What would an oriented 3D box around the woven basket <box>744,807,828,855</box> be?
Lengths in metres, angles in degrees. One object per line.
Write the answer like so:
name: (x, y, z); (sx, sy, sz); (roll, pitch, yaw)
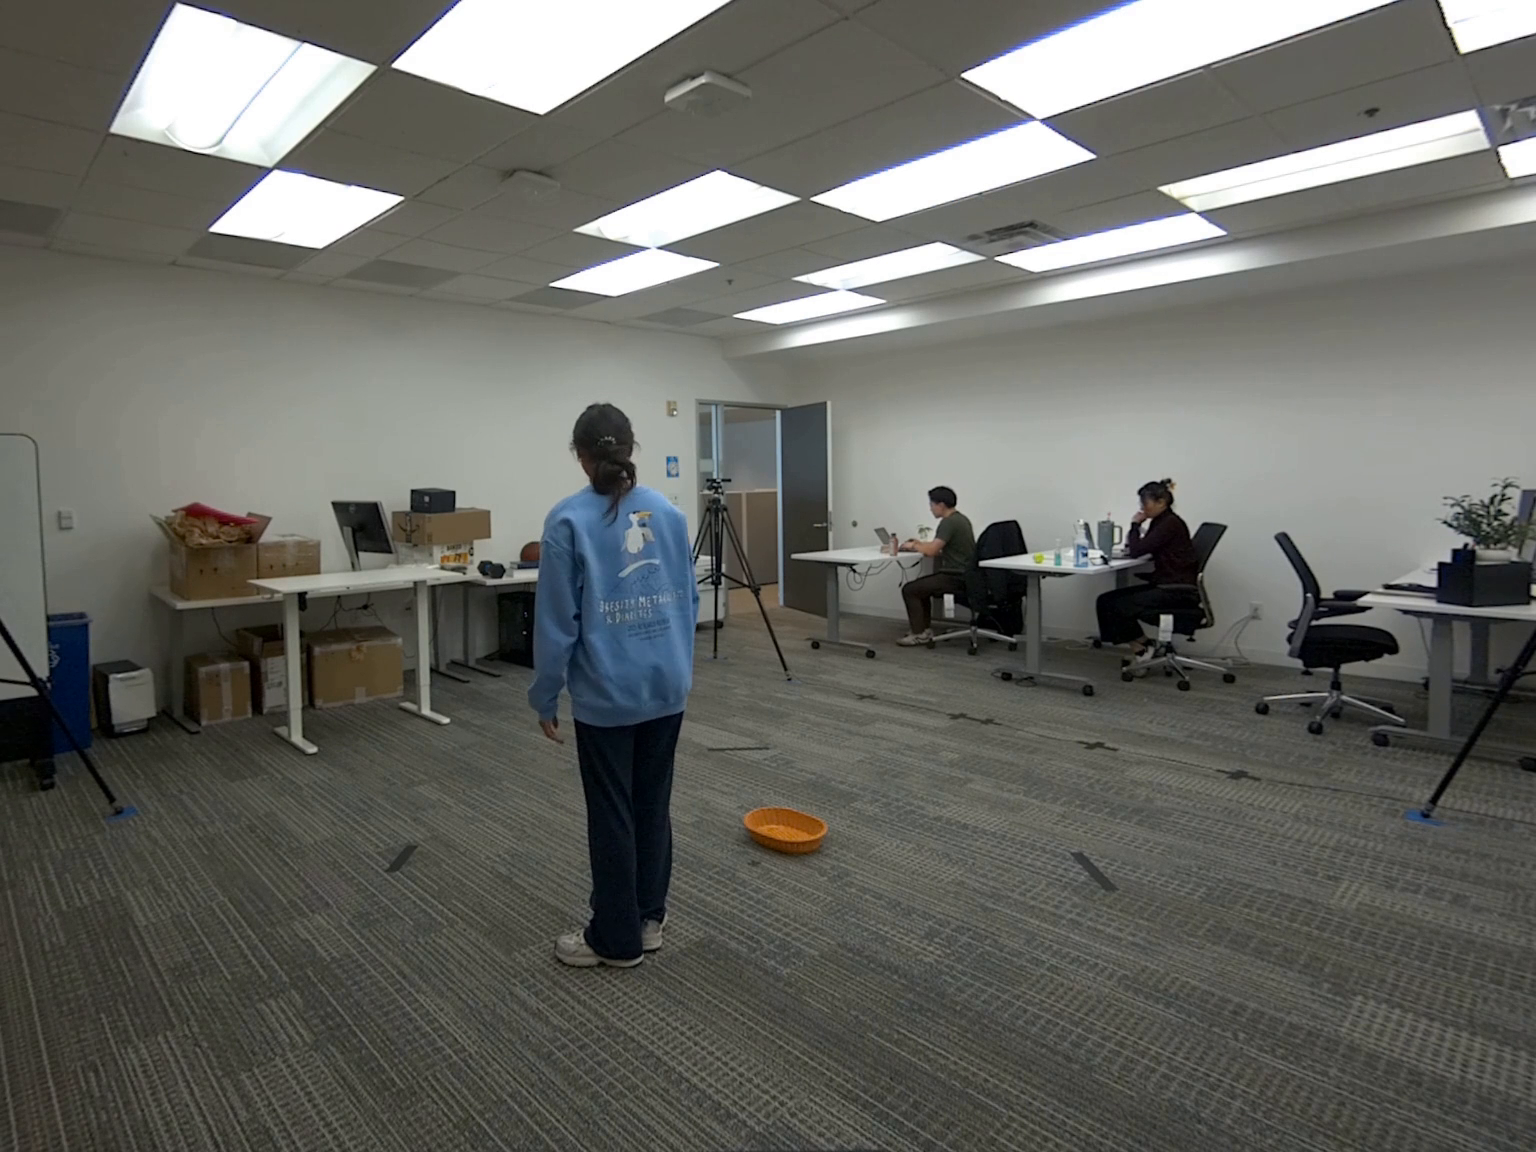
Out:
woven basket: (0.064, 0.982, 3.287); (0.361, 0.073, 0.246); (6, 10, 43)
